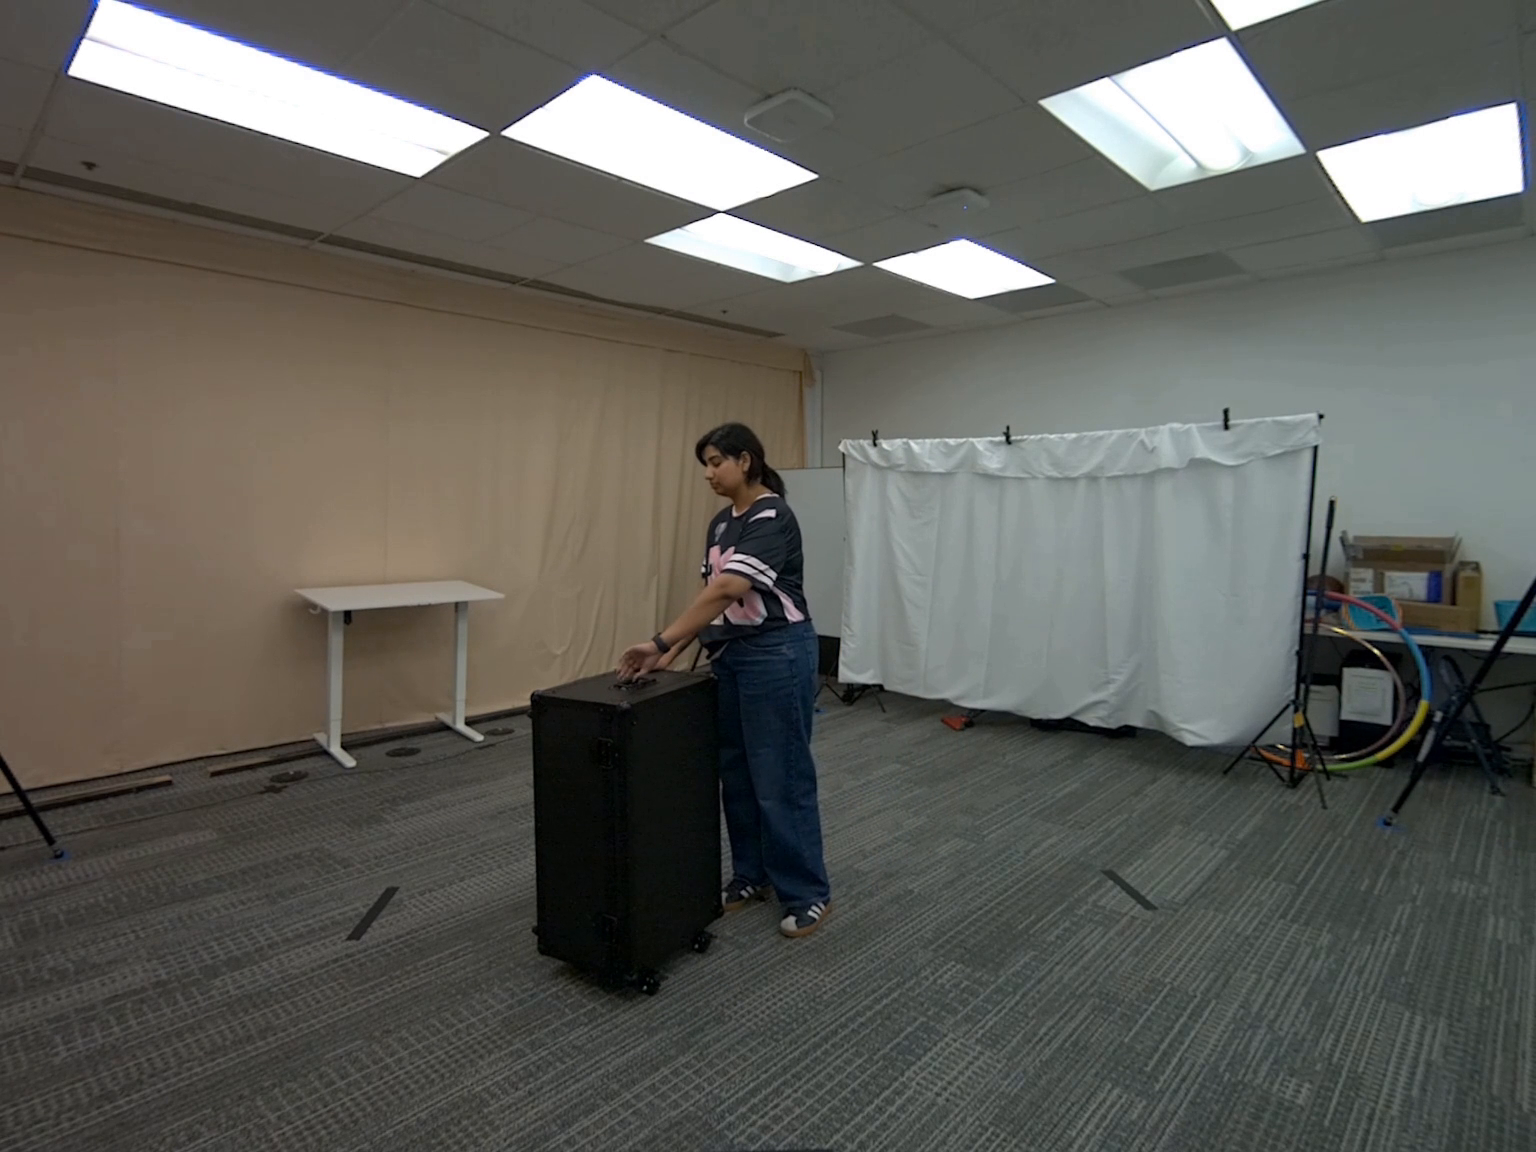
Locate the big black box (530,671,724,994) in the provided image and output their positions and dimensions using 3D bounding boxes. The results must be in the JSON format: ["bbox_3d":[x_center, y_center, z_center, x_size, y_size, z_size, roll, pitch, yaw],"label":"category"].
[{"bbox_3d":[-0.431,0.759,2.587,0.396,0.867,0.510,0,2,29],"label":"big black box"}]
